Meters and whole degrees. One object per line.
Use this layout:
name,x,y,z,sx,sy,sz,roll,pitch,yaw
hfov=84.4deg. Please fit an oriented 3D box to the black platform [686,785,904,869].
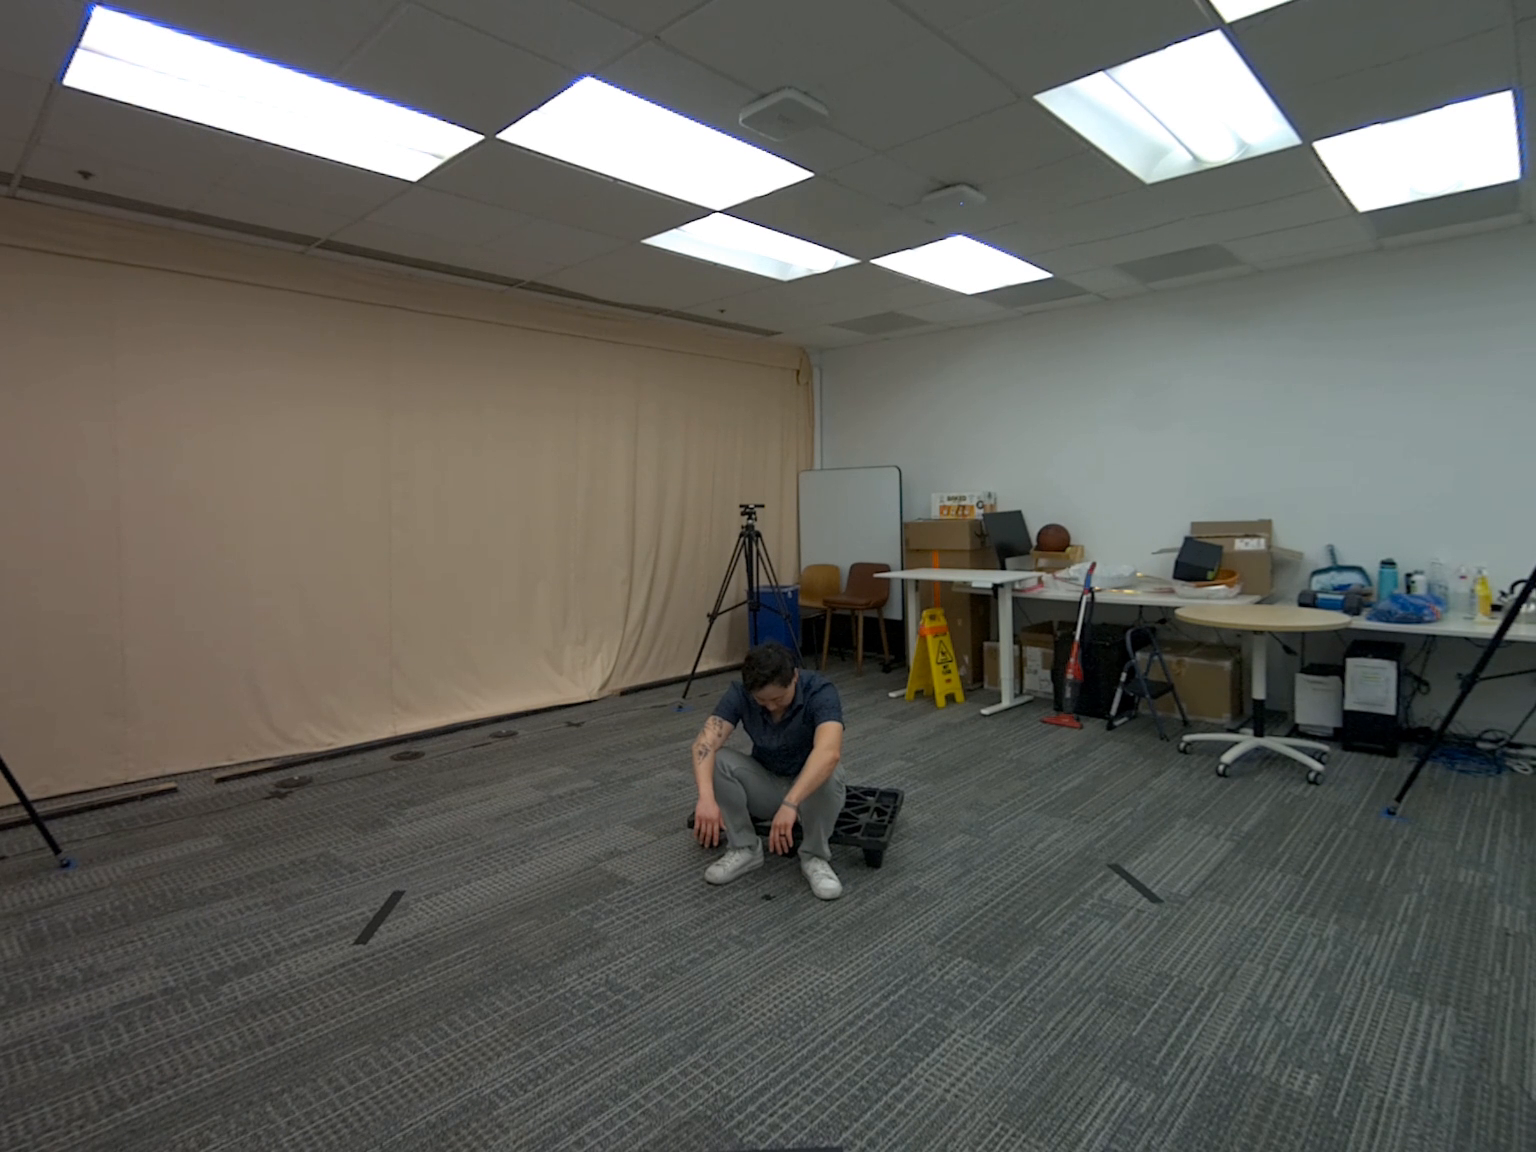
black platform,0.142,1.023,3.531,0.821,0.143,0.595,1,5,17
